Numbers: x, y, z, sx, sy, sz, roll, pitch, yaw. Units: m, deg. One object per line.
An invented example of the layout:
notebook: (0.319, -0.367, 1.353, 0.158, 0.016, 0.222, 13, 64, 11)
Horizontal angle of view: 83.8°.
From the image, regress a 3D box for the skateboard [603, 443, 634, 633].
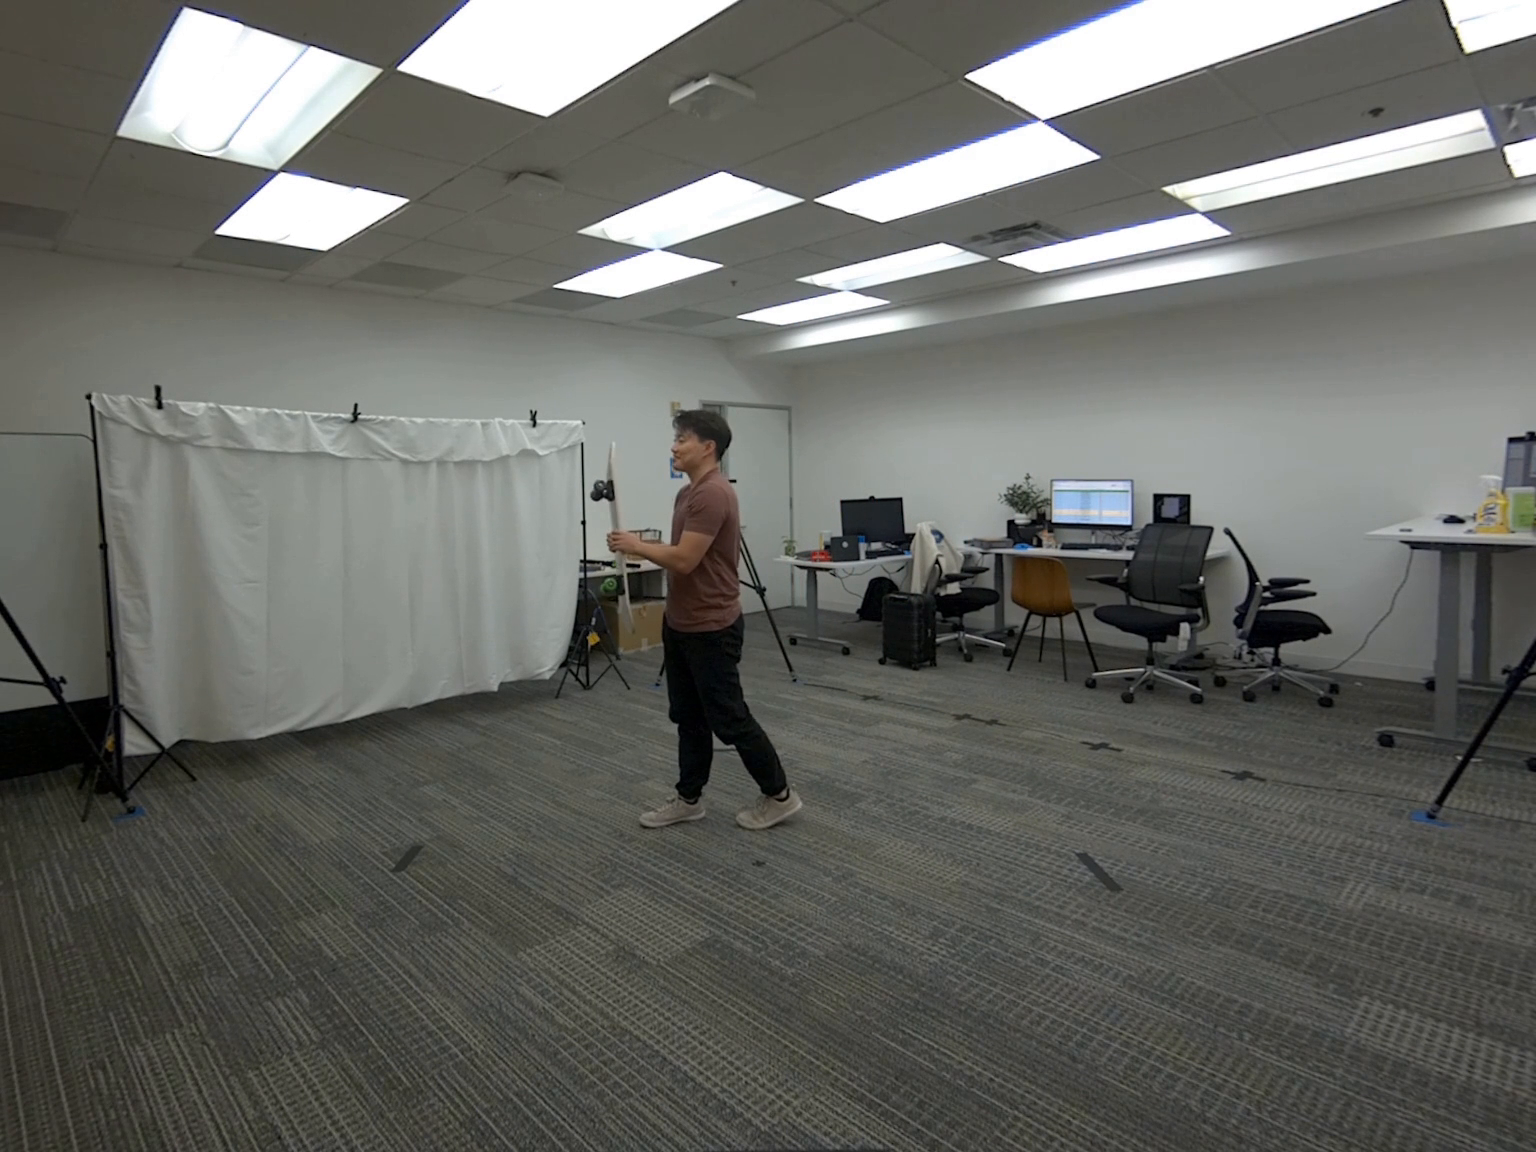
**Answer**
skateboard: (-0.635, -0.157, 3.462, 0.109, 0.794, 0.194, -4, -10, -17)
